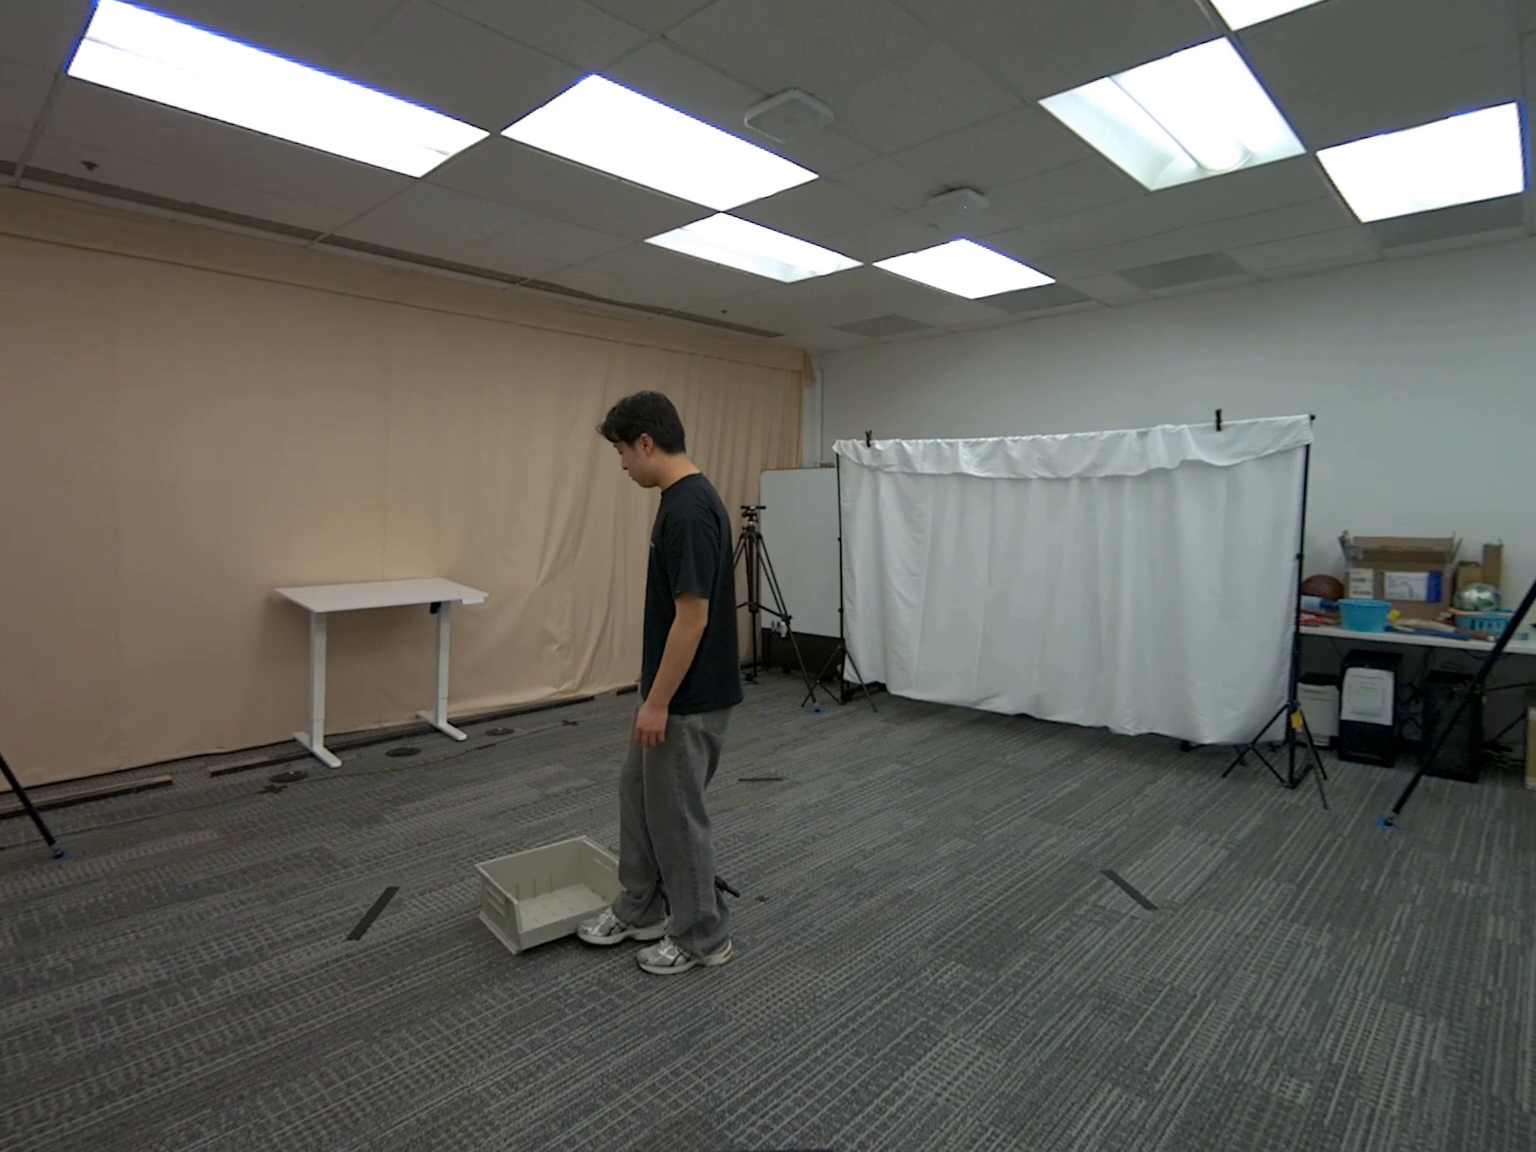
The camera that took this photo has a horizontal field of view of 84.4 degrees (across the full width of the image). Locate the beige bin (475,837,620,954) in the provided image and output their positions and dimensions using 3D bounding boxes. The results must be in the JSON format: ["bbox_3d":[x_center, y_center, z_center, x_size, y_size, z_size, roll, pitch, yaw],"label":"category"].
[{"bbox_3d":[-0.726,1.071,2.852,0.410,0.188,0.389,-4,4,-38],"label":"beige bin"}]
